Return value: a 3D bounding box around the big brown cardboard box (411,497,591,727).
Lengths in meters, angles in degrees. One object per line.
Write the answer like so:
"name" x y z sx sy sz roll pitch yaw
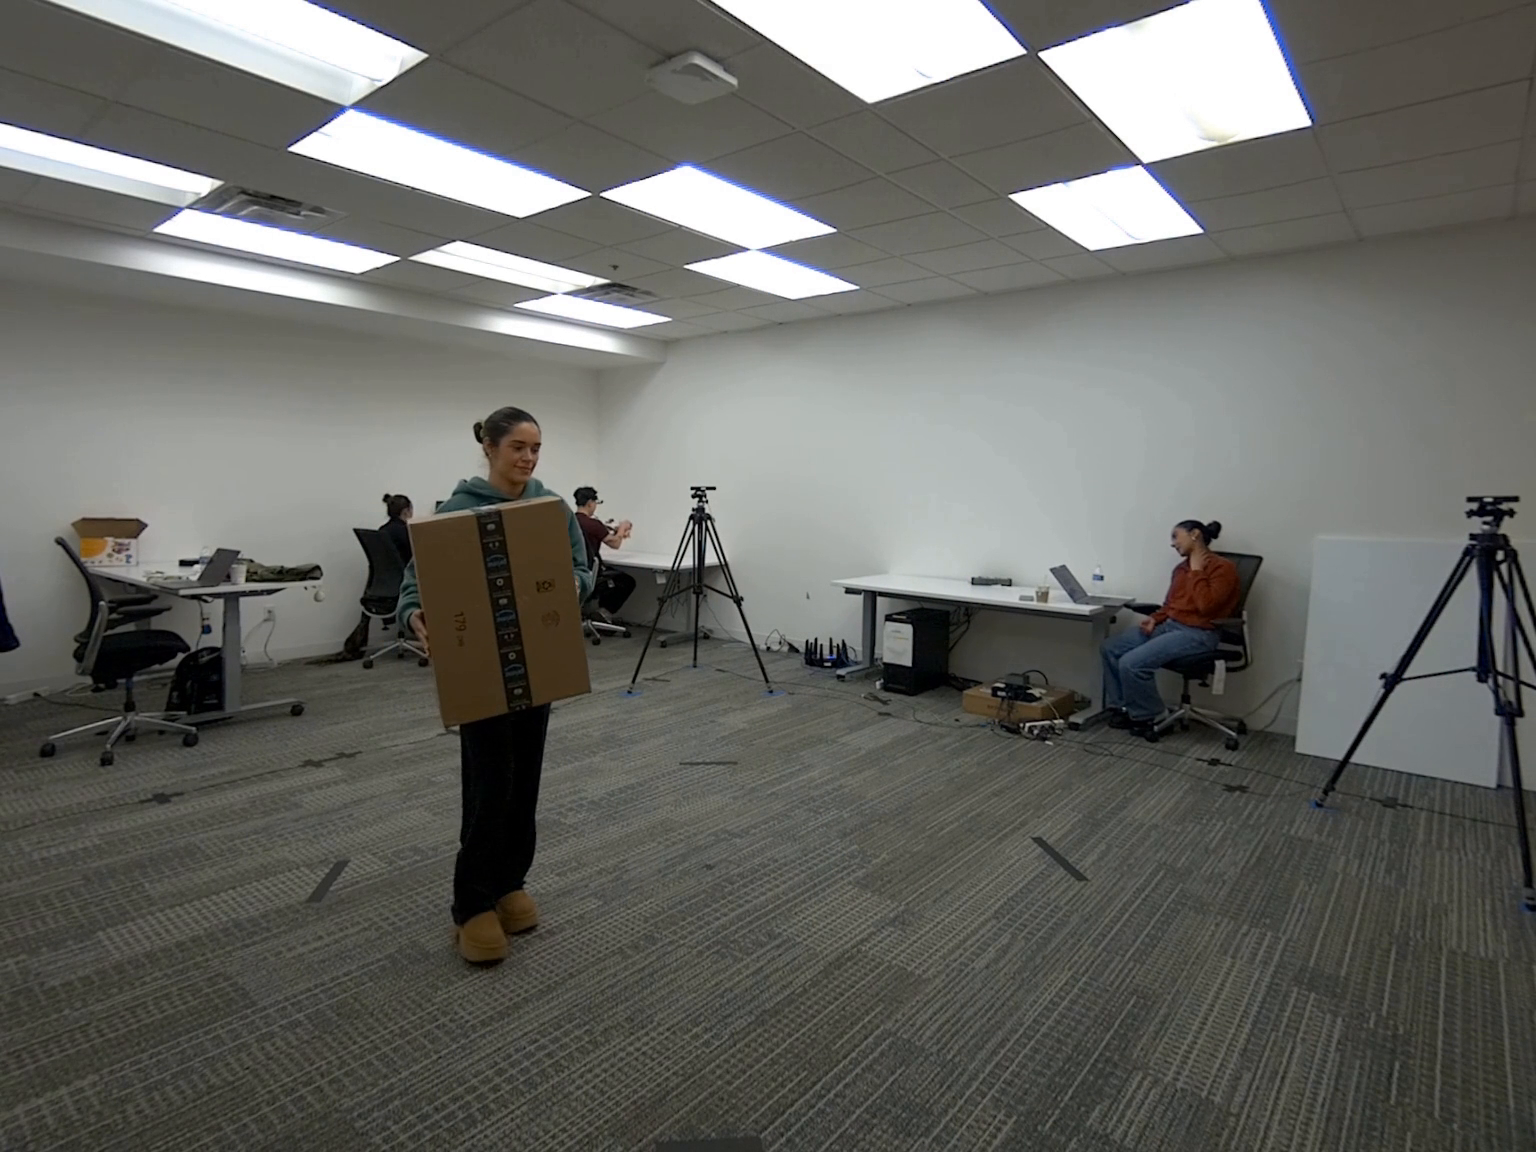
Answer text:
"big brown cardboard box" -0.780 0.086 2.431 0.410 0.584 0.239 -10 9 -21
